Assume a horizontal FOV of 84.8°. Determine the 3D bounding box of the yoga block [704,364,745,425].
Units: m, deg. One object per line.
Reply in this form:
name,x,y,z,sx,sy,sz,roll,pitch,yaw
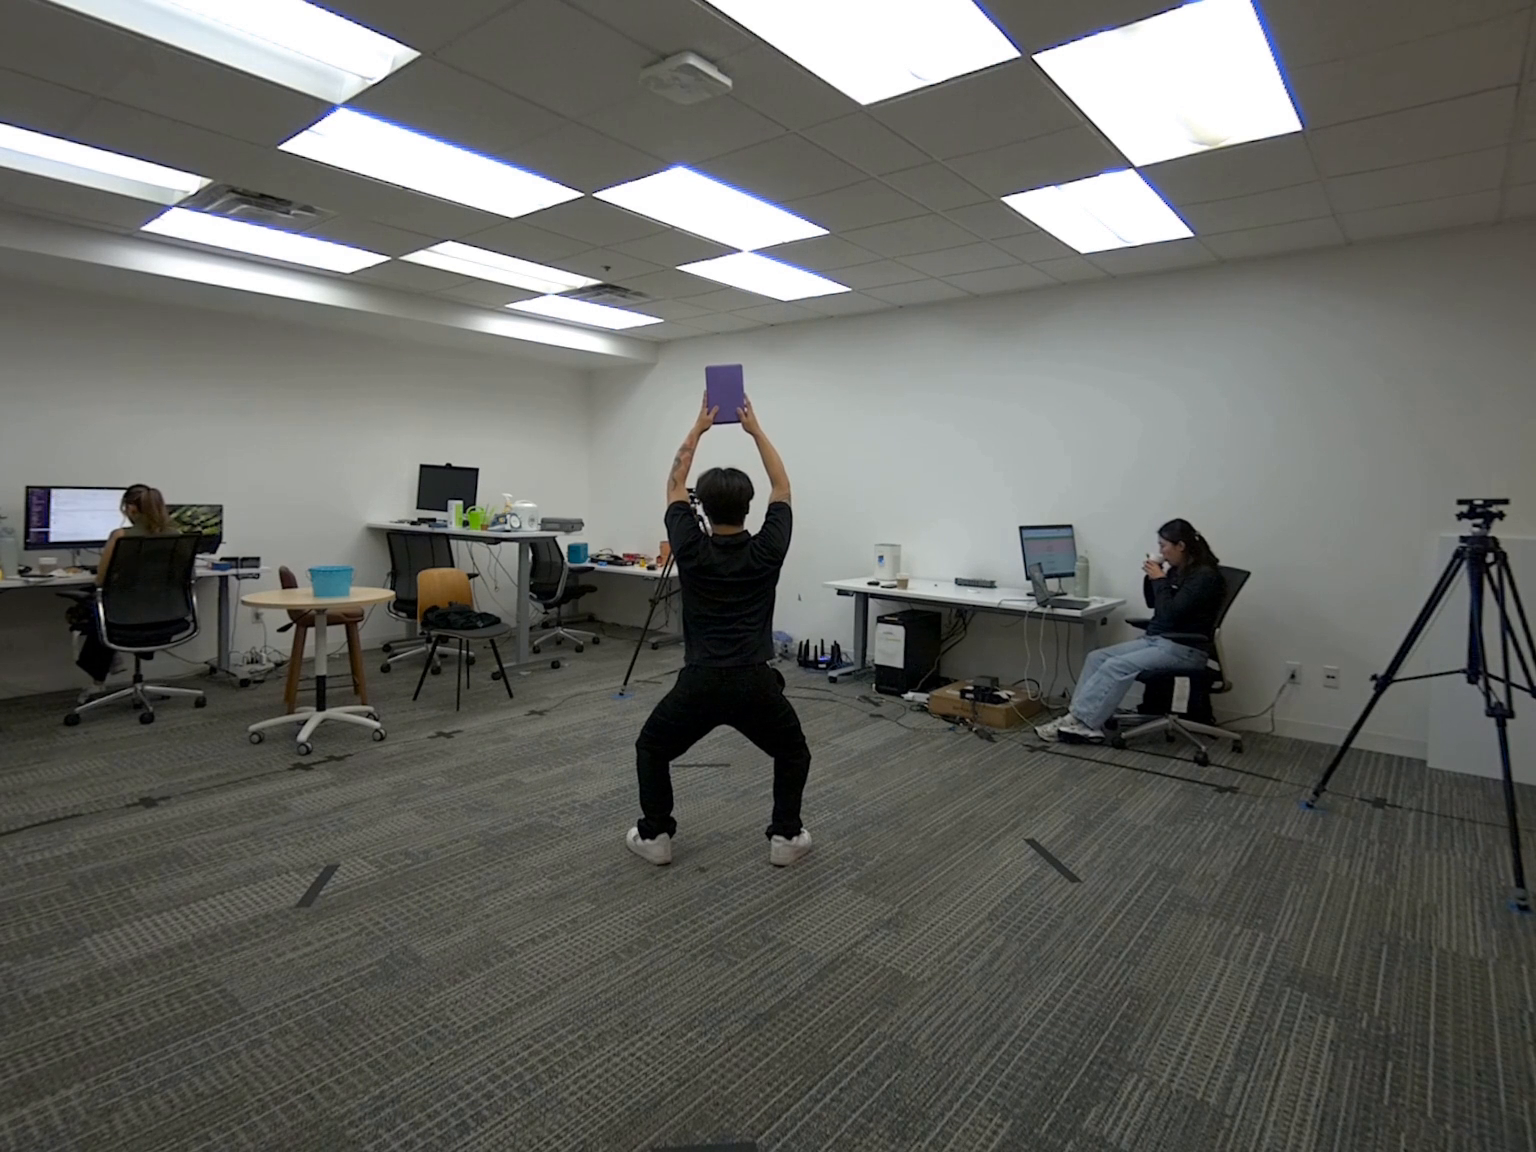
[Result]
yoga block,-0.182,-0.724,3.374,0.149,0.228,0.077,-2,4,0
